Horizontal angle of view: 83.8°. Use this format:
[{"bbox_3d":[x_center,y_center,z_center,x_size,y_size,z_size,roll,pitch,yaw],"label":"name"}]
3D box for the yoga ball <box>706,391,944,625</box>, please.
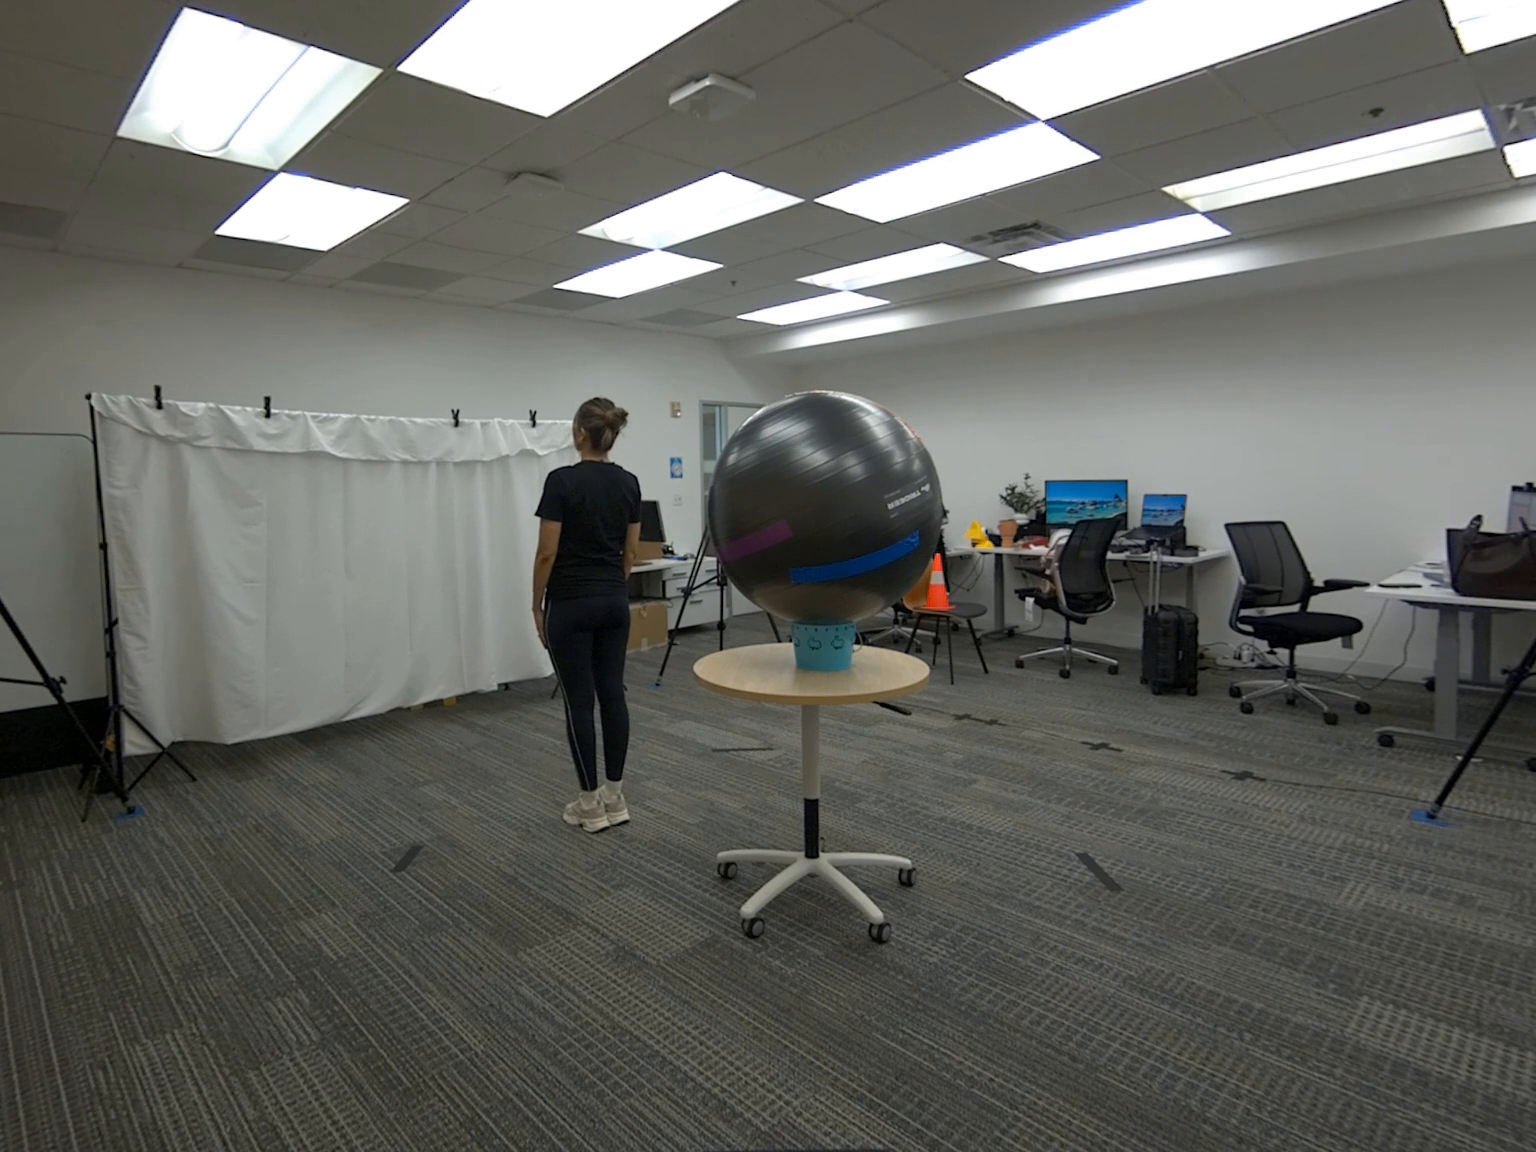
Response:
[{"bbox_3d":[0.185,-0.213,2.770,0.757,0.755,0.762,-1,5,-2],"label":"yoga ball"}]
